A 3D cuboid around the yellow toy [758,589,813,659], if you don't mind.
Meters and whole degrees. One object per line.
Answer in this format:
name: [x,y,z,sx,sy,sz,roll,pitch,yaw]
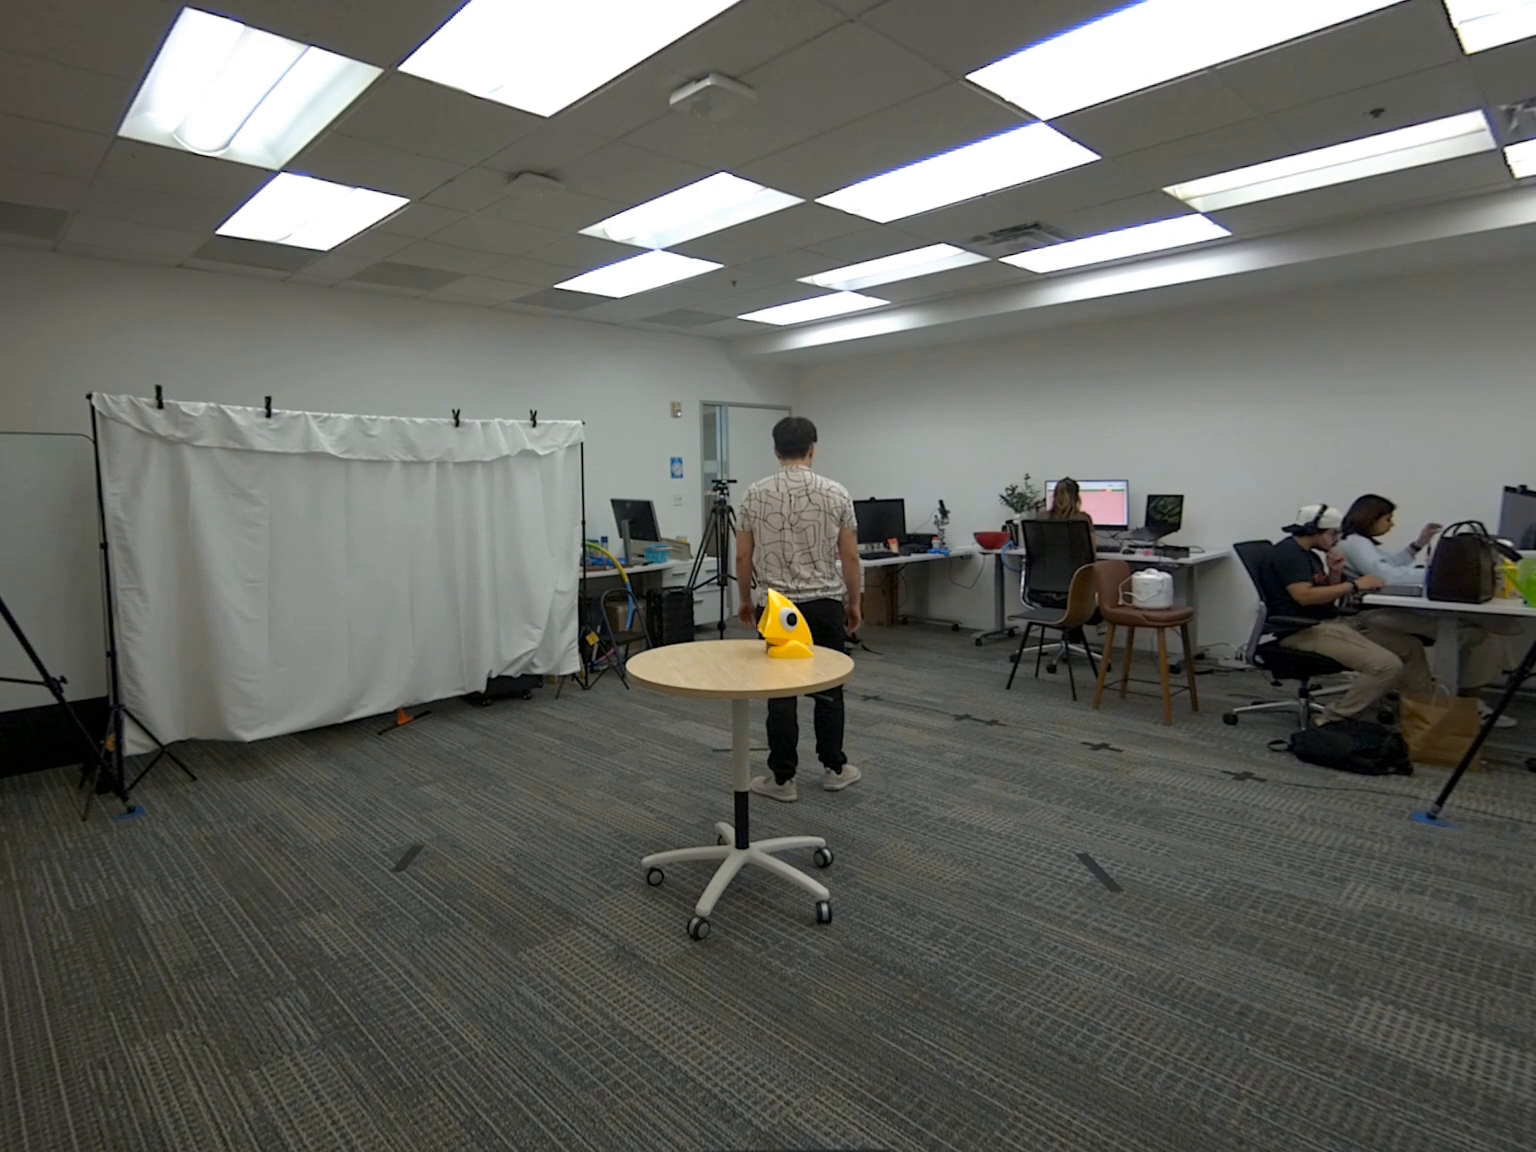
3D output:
yellow toy: [0.061,0.162,3.021,0.192,0.230,0.206,-2,4,-4]
